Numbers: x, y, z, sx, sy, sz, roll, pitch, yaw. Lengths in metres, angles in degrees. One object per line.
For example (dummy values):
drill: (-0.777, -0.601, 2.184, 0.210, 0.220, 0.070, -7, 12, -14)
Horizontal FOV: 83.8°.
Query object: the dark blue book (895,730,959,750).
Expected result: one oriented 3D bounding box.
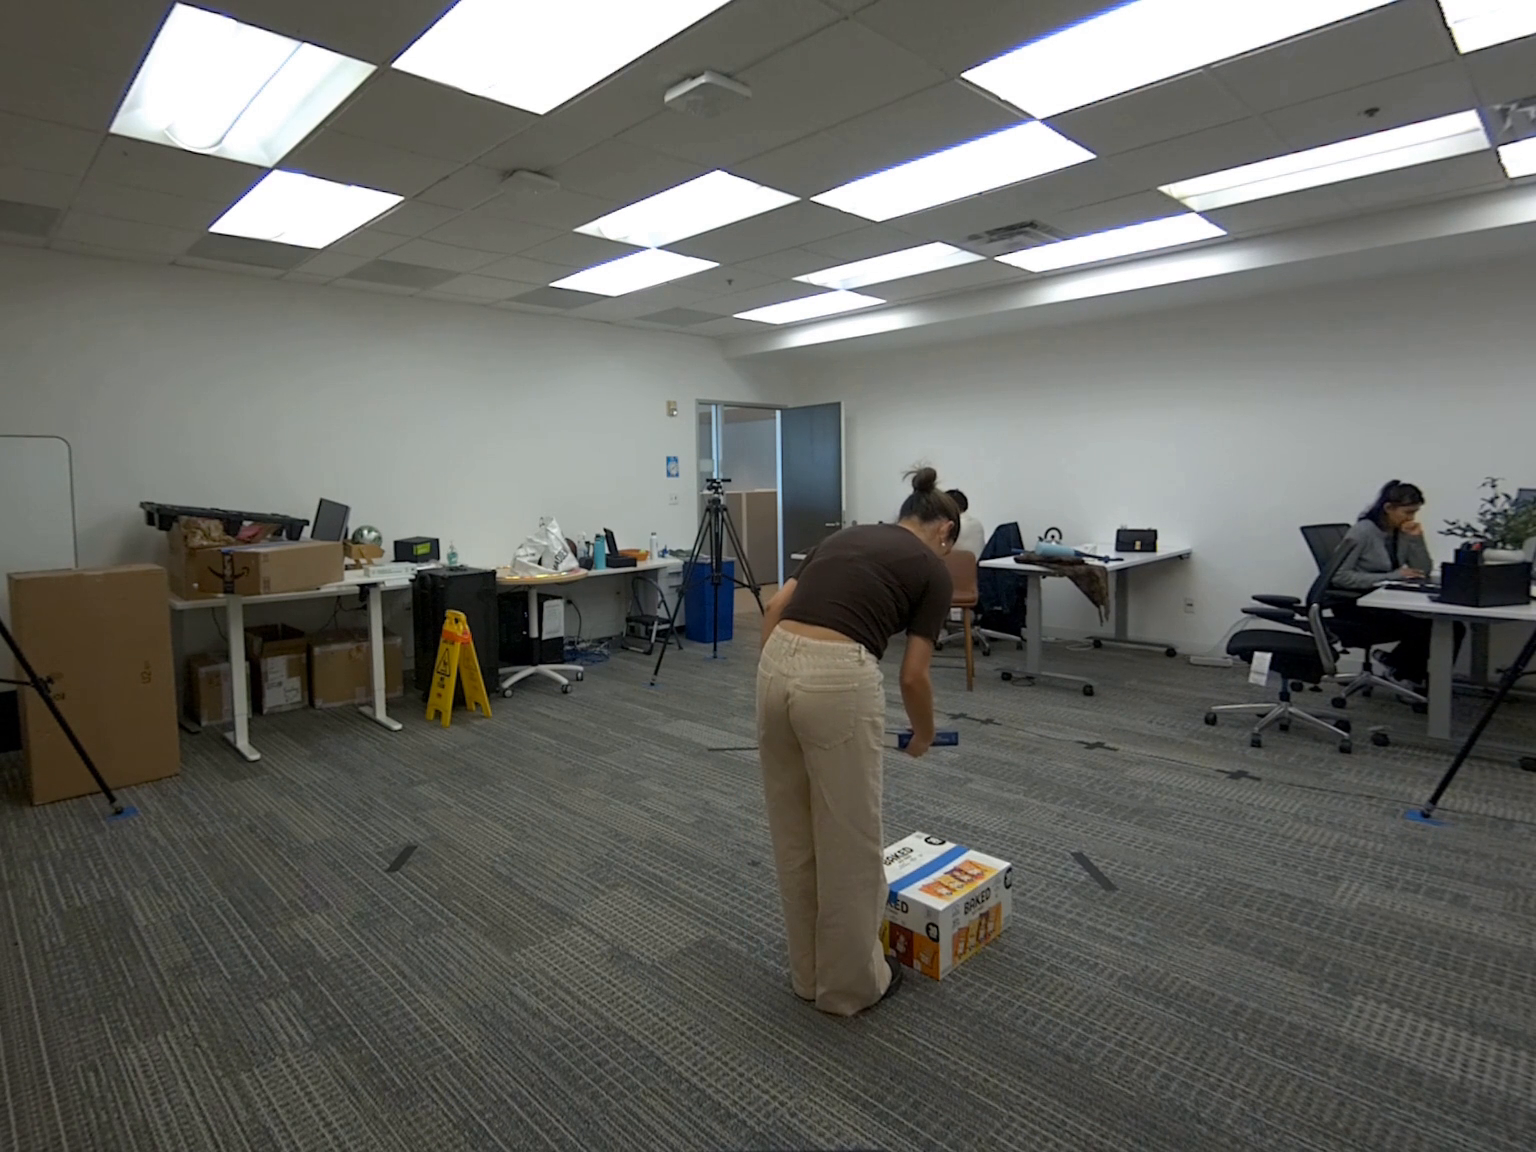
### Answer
dark blue book: (0.420, 0.473, 2.455, 0.238, 0.045, 0.167, 5, -7, -35)
